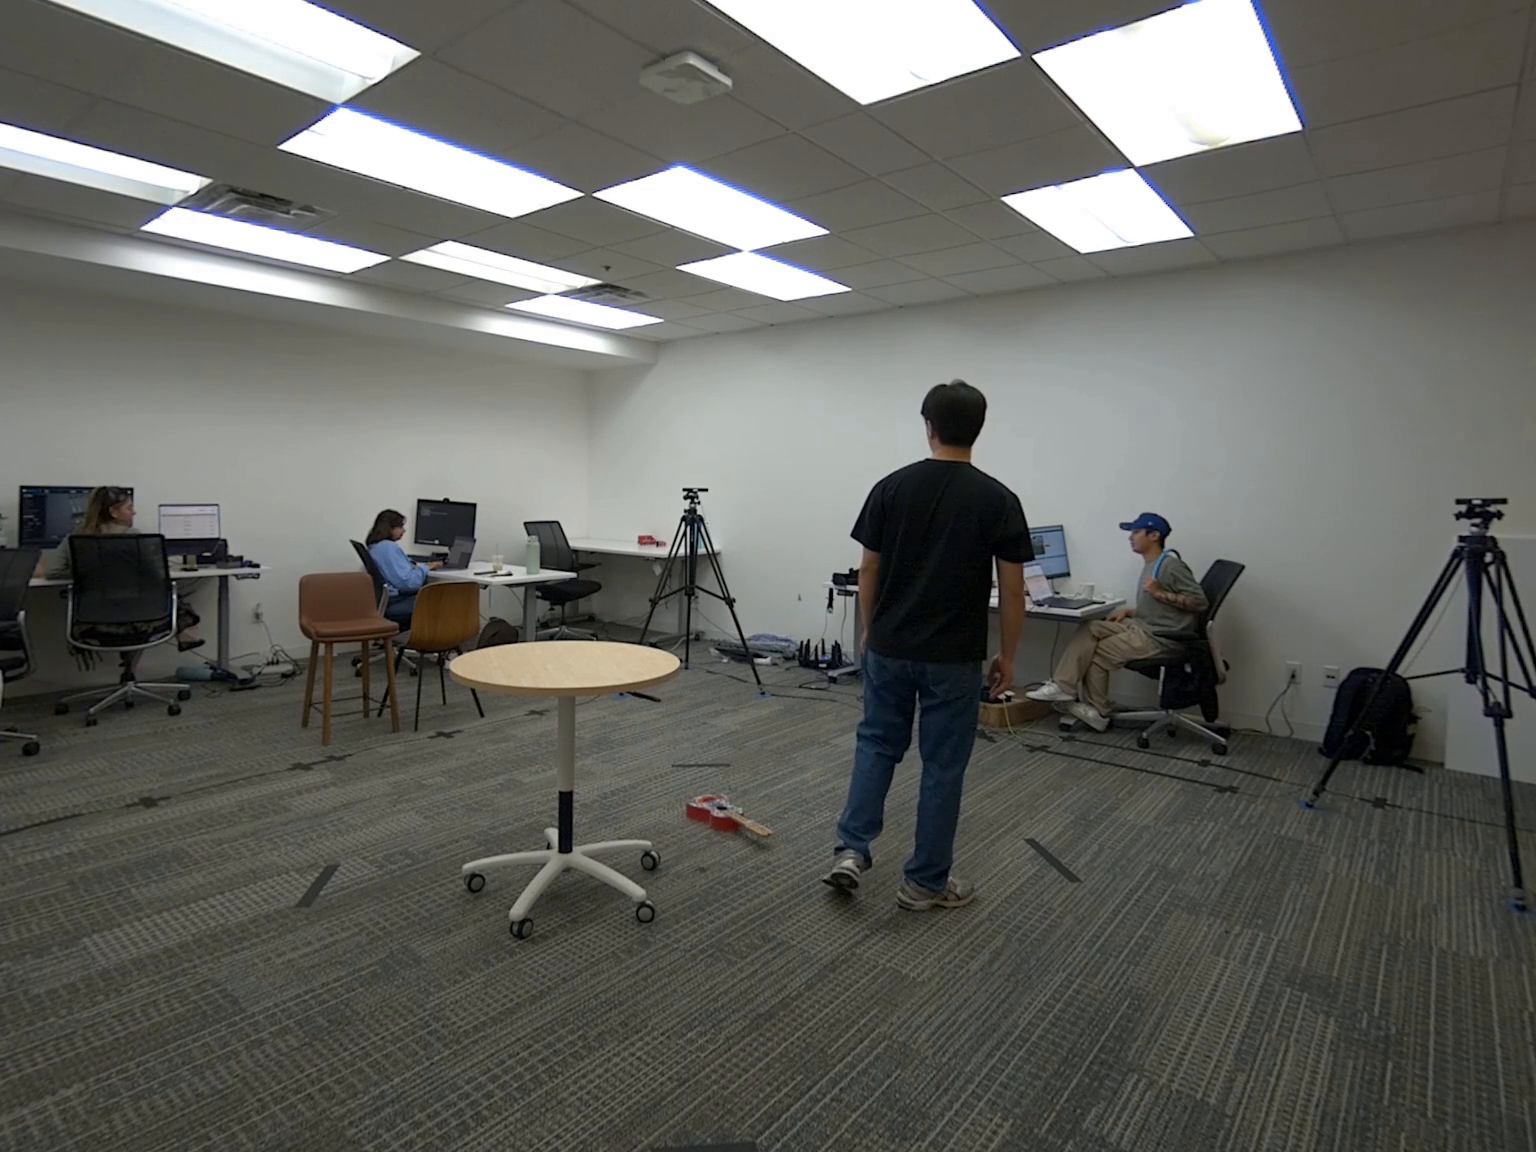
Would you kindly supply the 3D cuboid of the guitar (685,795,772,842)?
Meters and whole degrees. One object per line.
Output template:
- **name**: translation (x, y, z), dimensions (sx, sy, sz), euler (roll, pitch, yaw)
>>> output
- **guitar**: translation (-0.182, 1.000, 3.481), dimensions (0.188, 0.070, 0.512), euler (-1, 5, -27)
